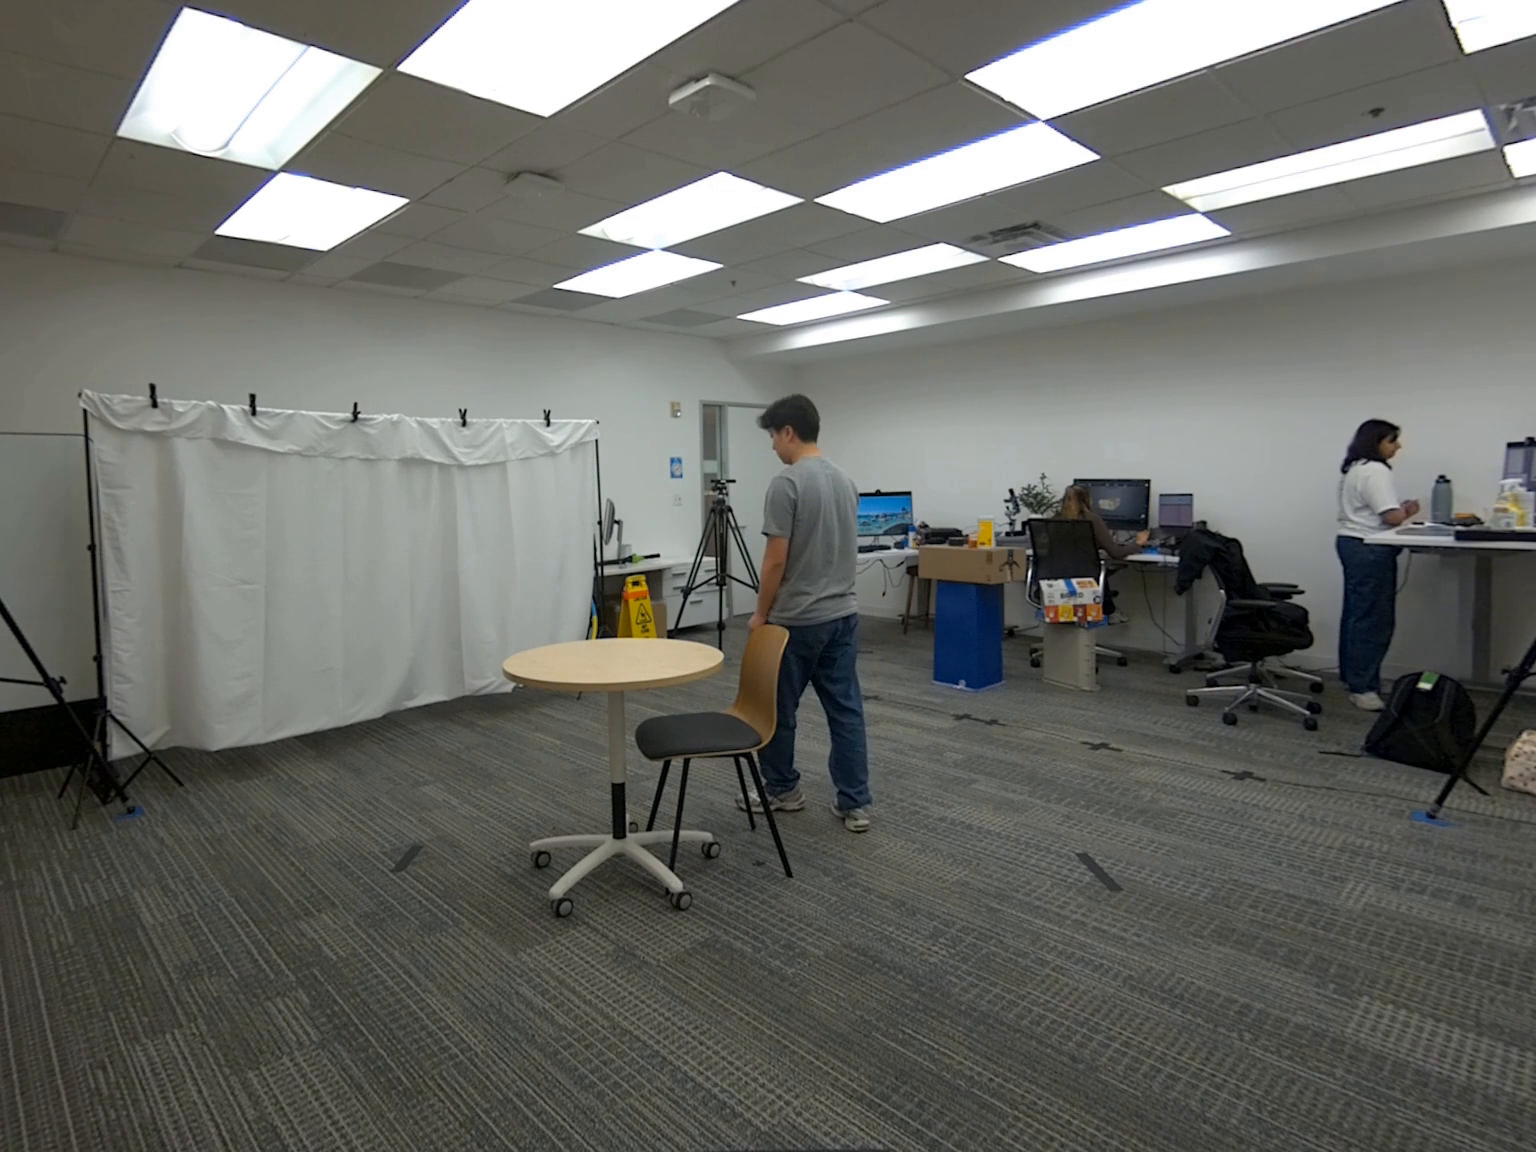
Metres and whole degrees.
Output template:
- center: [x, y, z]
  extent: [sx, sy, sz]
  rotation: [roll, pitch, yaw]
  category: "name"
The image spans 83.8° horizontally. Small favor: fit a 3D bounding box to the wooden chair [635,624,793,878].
- center: [-0.208, 0.619, 3.114]
  extent: [0.514, 0.875, 0.487]
  rotation: [2, 3, -18]
  category: "wooden chair"
